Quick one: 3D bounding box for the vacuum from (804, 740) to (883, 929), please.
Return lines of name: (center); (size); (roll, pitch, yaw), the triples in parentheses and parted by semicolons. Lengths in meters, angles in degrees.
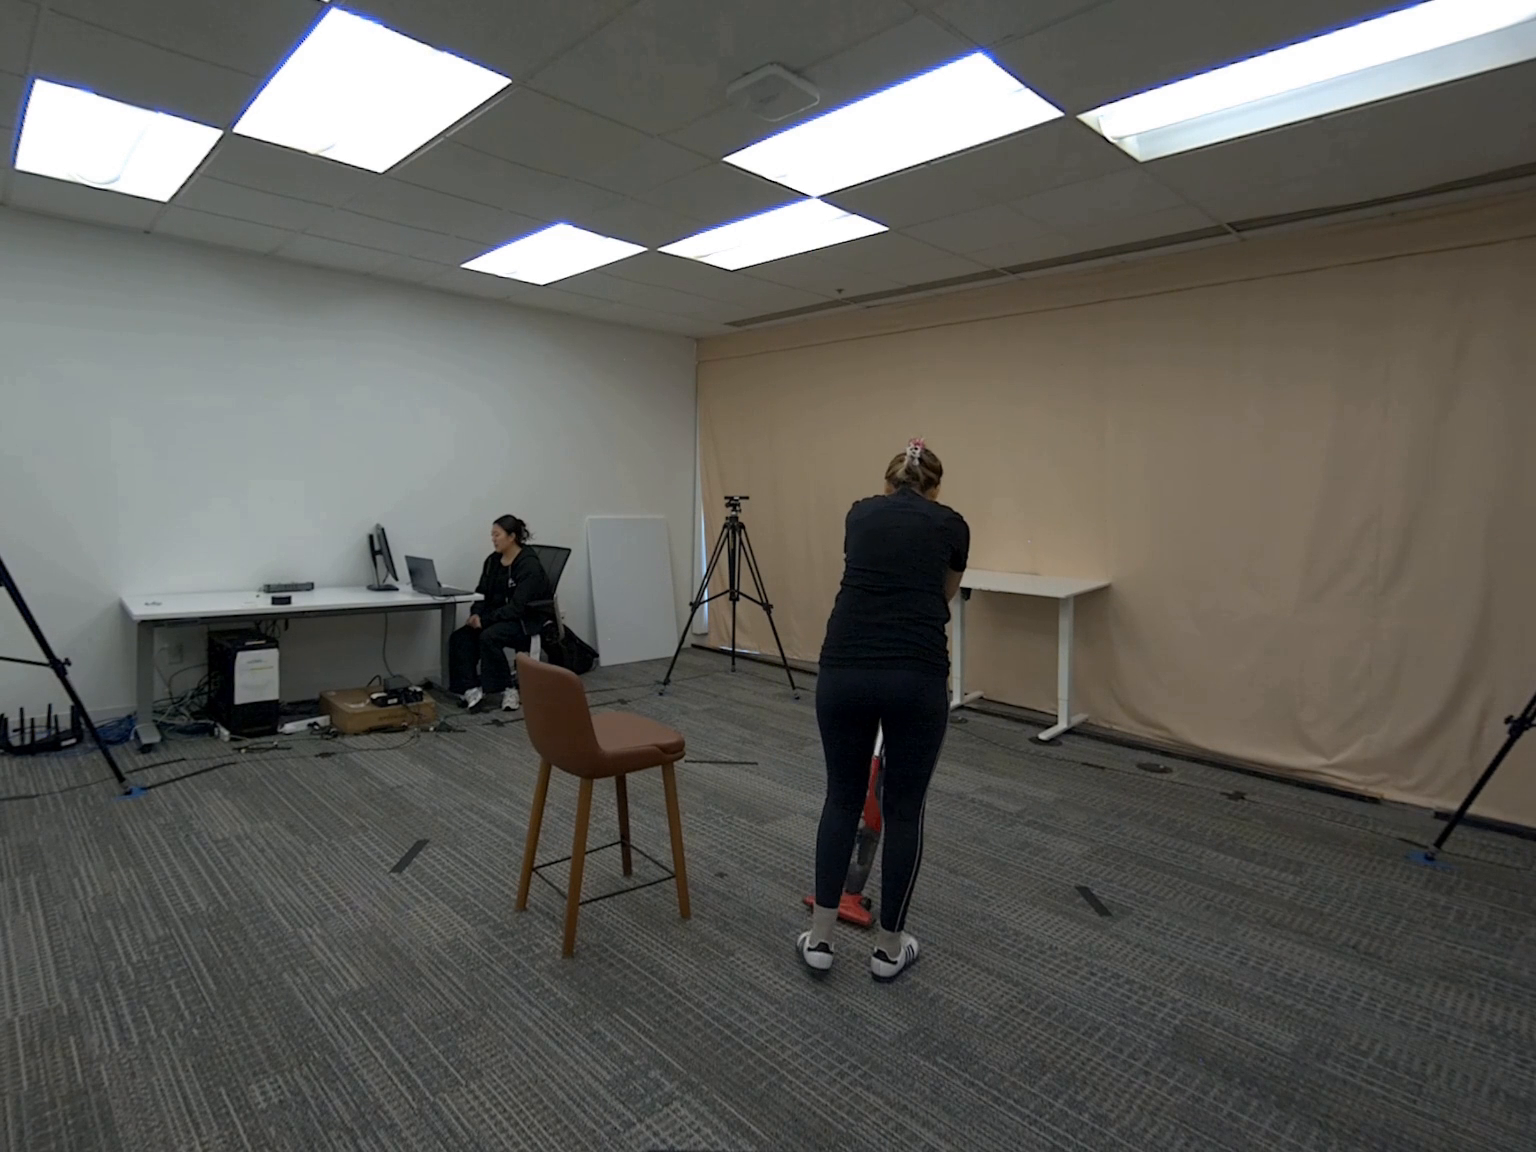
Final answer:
vacuum: (0.398, 0.667, 3.016); (0.258, 1.059, 0.139); (0, -29, 36)
